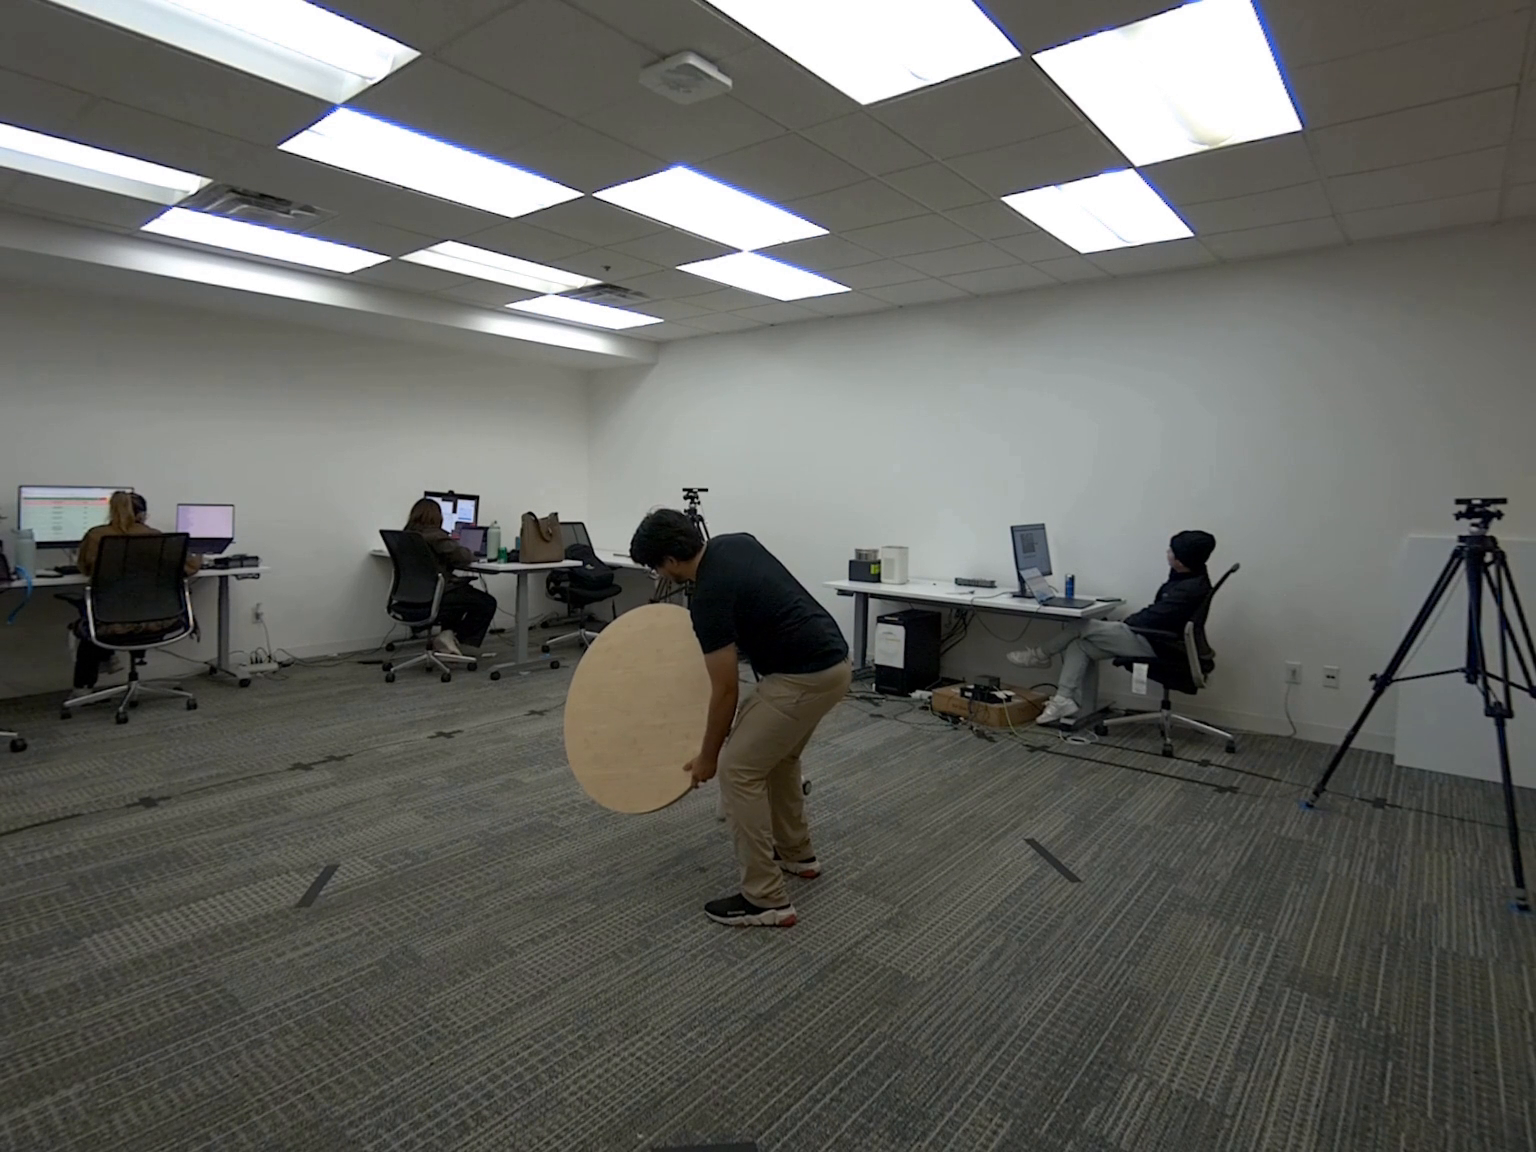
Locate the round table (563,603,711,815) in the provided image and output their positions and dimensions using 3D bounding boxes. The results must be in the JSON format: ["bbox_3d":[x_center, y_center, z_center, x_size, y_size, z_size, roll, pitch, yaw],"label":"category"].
[{"bbox_3d":[-0.273,0.578,3.420,0.810,0.793,0.754,4,-17,35],"label":"round table"}]
